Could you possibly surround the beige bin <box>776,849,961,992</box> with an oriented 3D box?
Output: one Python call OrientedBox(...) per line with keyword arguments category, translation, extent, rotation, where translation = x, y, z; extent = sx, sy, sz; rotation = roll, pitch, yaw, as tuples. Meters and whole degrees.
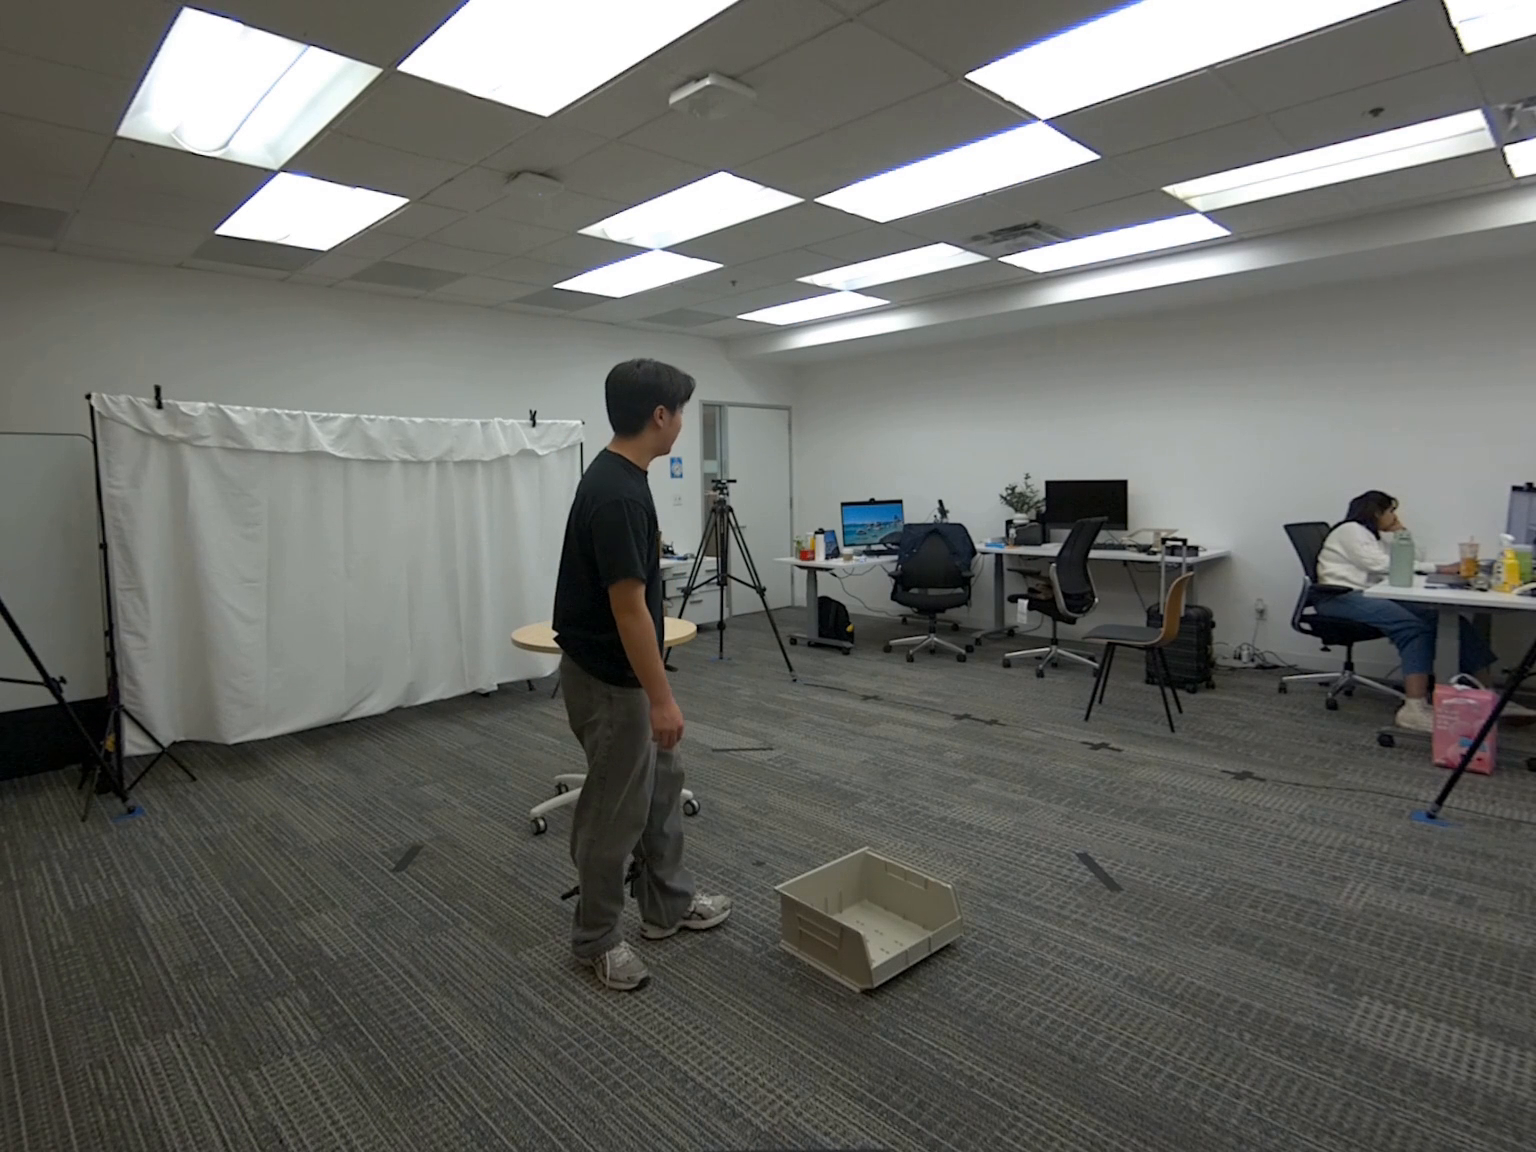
OrientedBox(category="beige bin", translation=(0.306, 1.016, 2.545), extent=(0.411, 0.188, 0.389), rotation=(-7, 7, -41))
